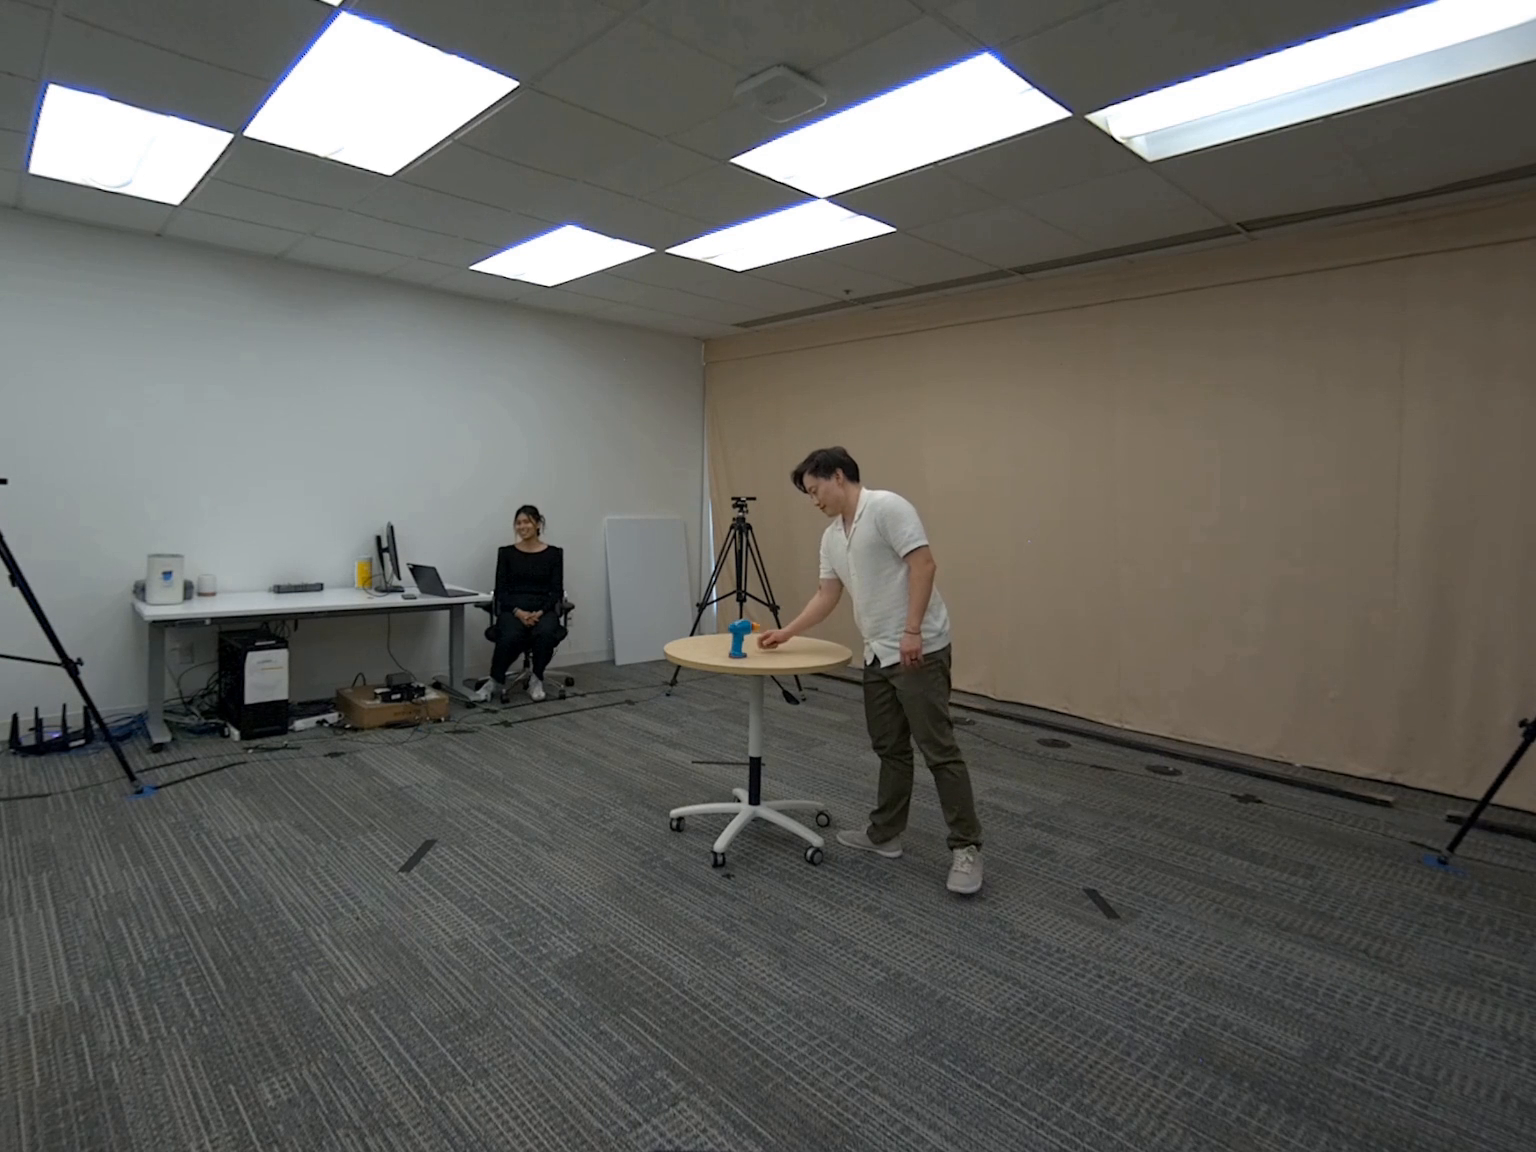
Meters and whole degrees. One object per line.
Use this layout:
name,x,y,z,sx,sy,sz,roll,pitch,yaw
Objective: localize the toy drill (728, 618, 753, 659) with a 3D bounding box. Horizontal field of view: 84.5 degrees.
toy drill,-0.088,0.237,3.260,0.166,0.145,0.063,-4,6,-42
